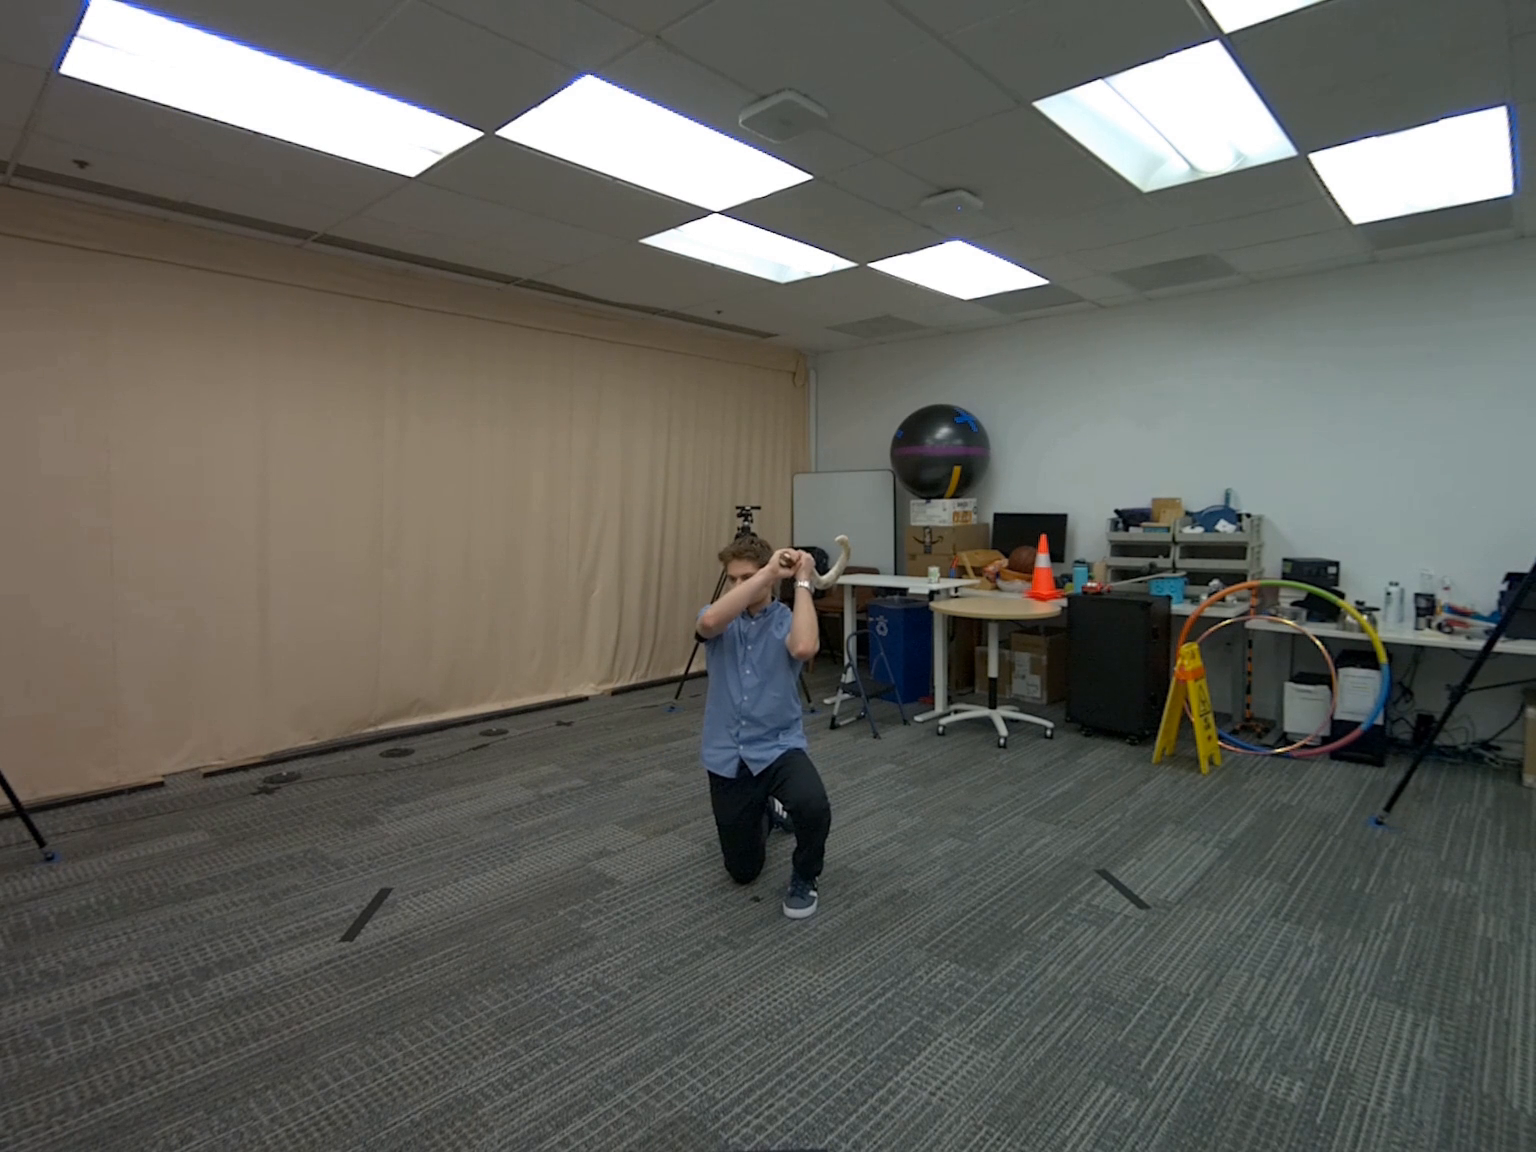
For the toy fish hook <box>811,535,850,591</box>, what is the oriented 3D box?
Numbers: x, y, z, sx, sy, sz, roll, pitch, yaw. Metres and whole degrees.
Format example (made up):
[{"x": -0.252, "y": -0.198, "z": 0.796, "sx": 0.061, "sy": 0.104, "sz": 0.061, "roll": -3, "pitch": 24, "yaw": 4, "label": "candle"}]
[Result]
[{"x": 0.186, "y": -0.081, "z": 3.076, "sx": 0.050, "sy": 0.224, "sz": 0.491, "roll": 26, "pitch": 2, "yaw": 28, "label": "toy fish hook"}]
